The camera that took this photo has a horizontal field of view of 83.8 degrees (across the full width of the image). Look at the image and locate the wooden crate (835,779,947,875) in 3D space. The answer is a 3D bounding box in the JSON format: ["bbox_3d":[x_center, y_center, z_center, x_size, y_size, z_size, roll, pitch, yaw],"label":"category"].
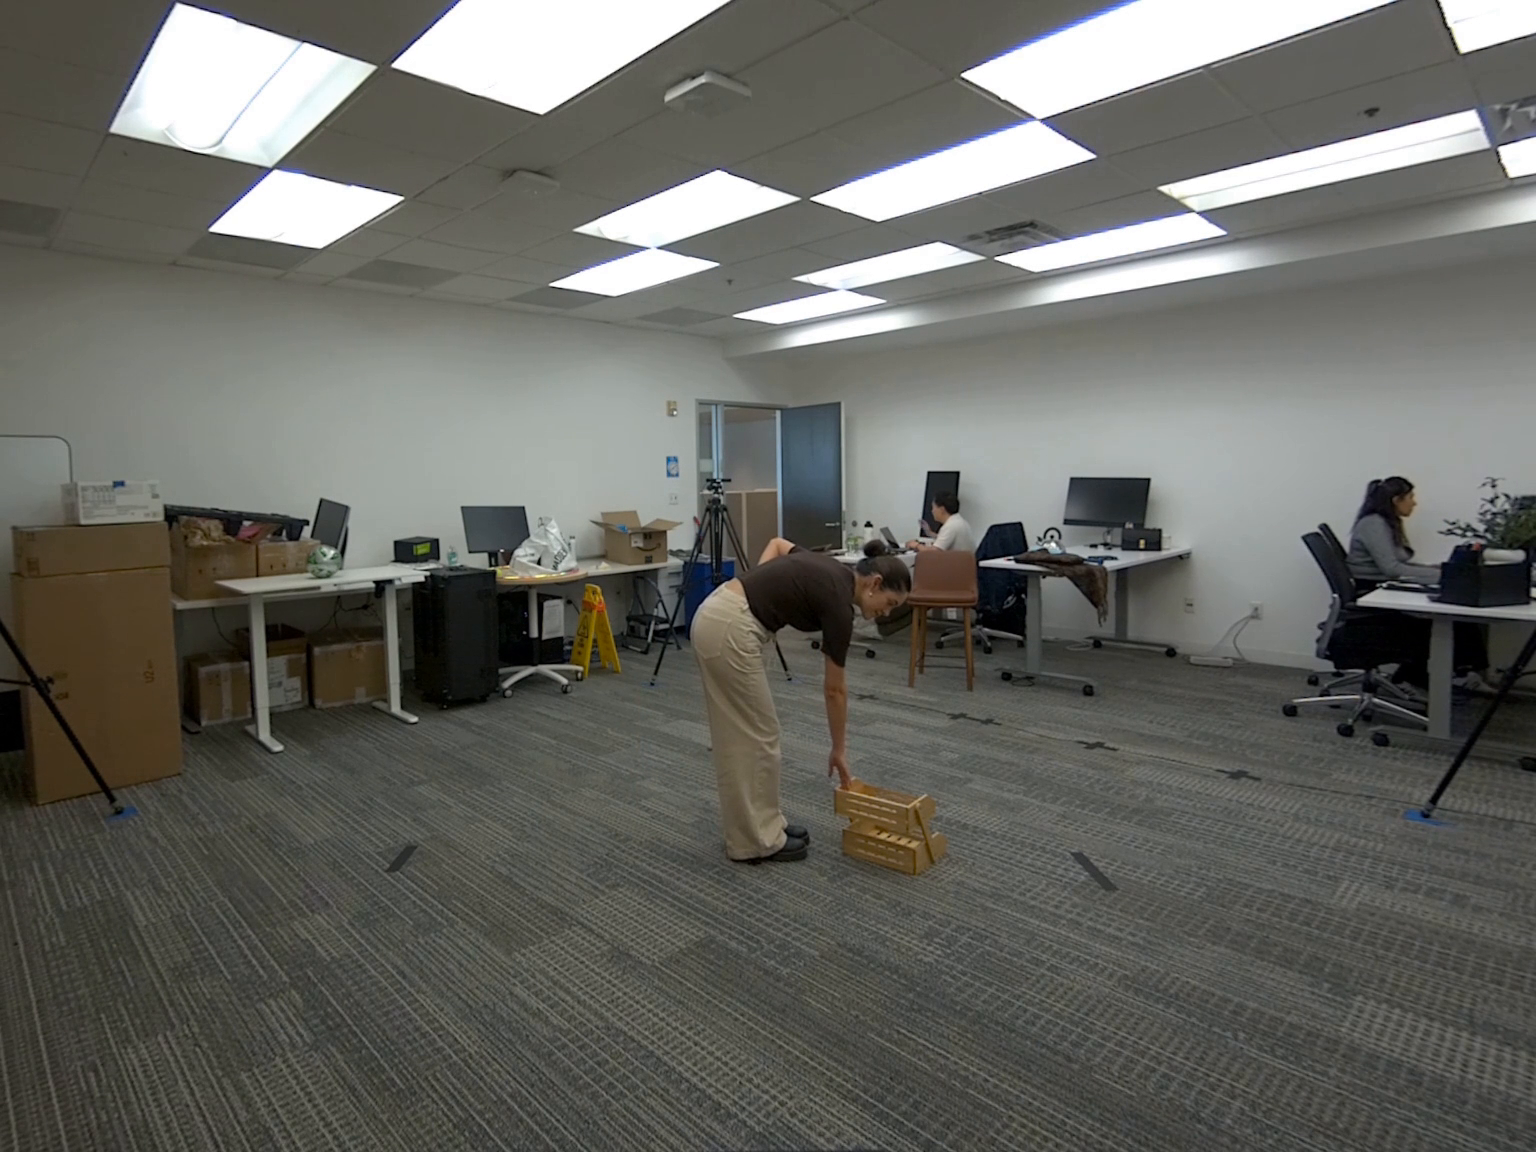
[{"bbox_3d":[0.452,0.892,3.147,0.334,0.272,0.294,3,7,38],"label":"wooden crate"}]
